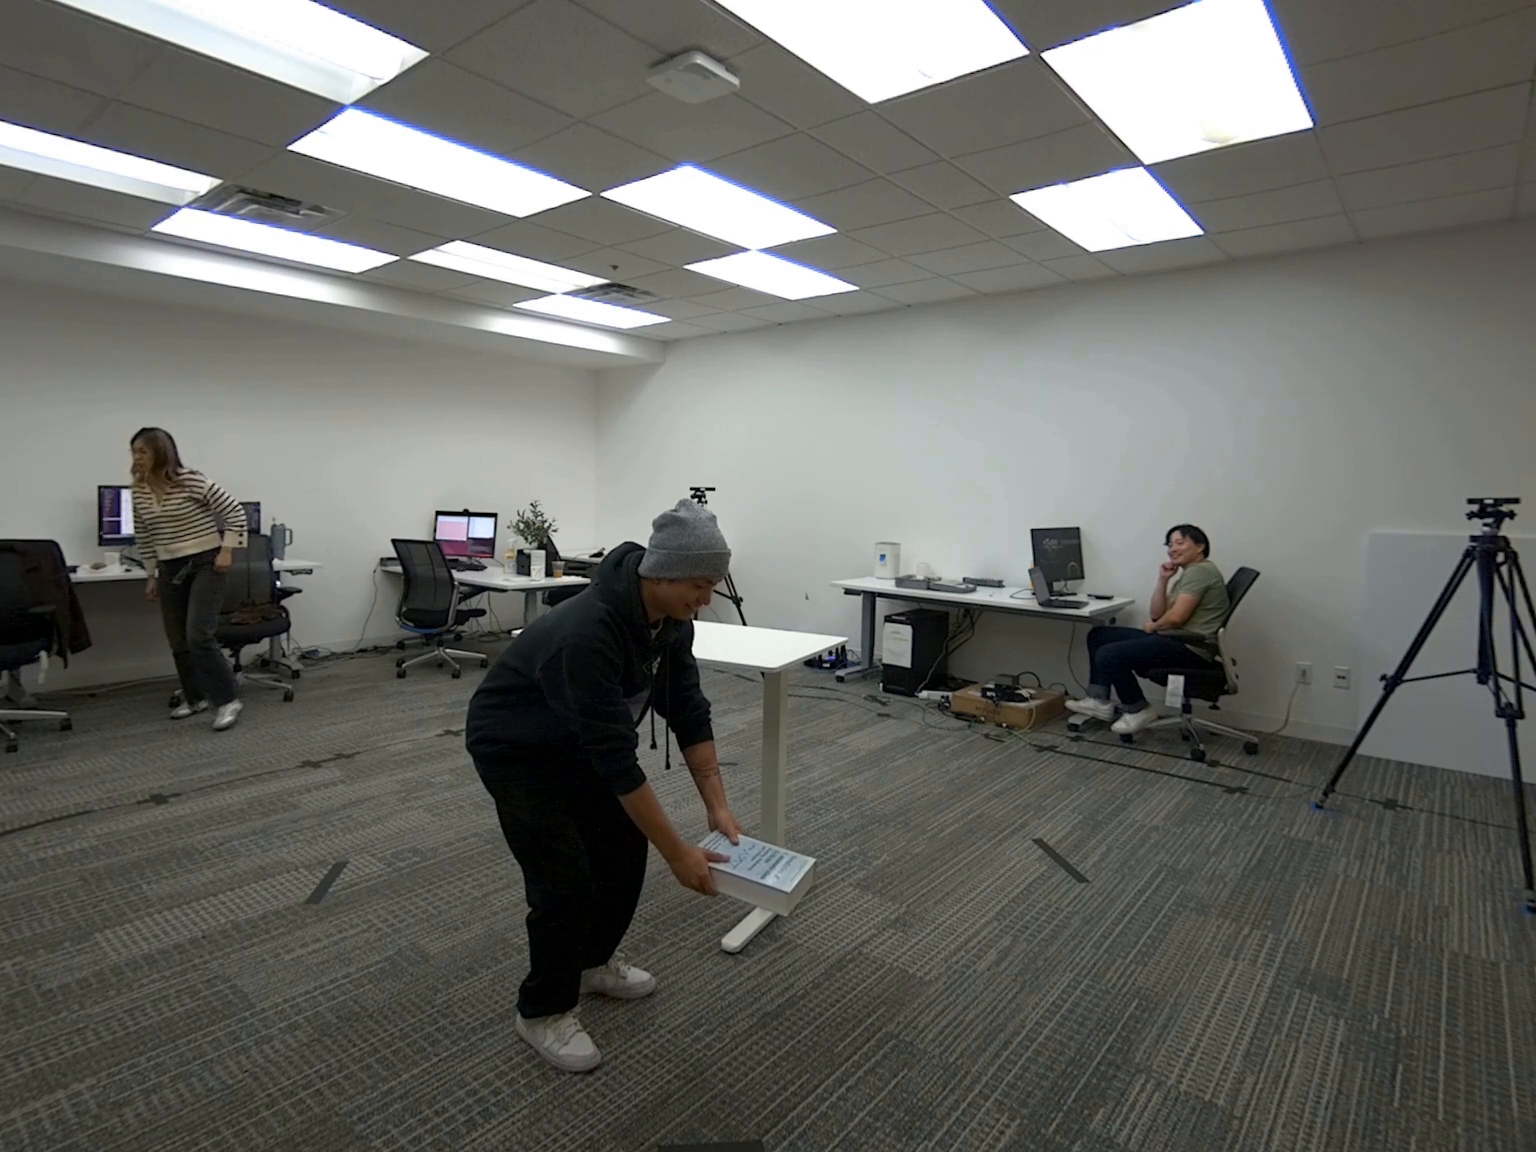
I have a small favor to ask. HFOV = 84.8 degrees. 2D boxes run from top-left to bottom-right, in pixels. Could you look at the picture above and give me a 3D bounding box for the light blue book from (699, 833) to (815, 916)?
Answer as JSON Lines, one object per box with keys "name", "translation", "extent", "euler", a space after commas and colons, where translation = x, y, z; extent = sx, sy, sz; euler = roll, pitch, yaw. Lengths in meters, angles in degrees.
{"name": "light blue book", "translation": [-0.041, 0.682, 1.977], "extent": [0.268, 0.058, 0.187], "euler": [9, 9, 23]}
